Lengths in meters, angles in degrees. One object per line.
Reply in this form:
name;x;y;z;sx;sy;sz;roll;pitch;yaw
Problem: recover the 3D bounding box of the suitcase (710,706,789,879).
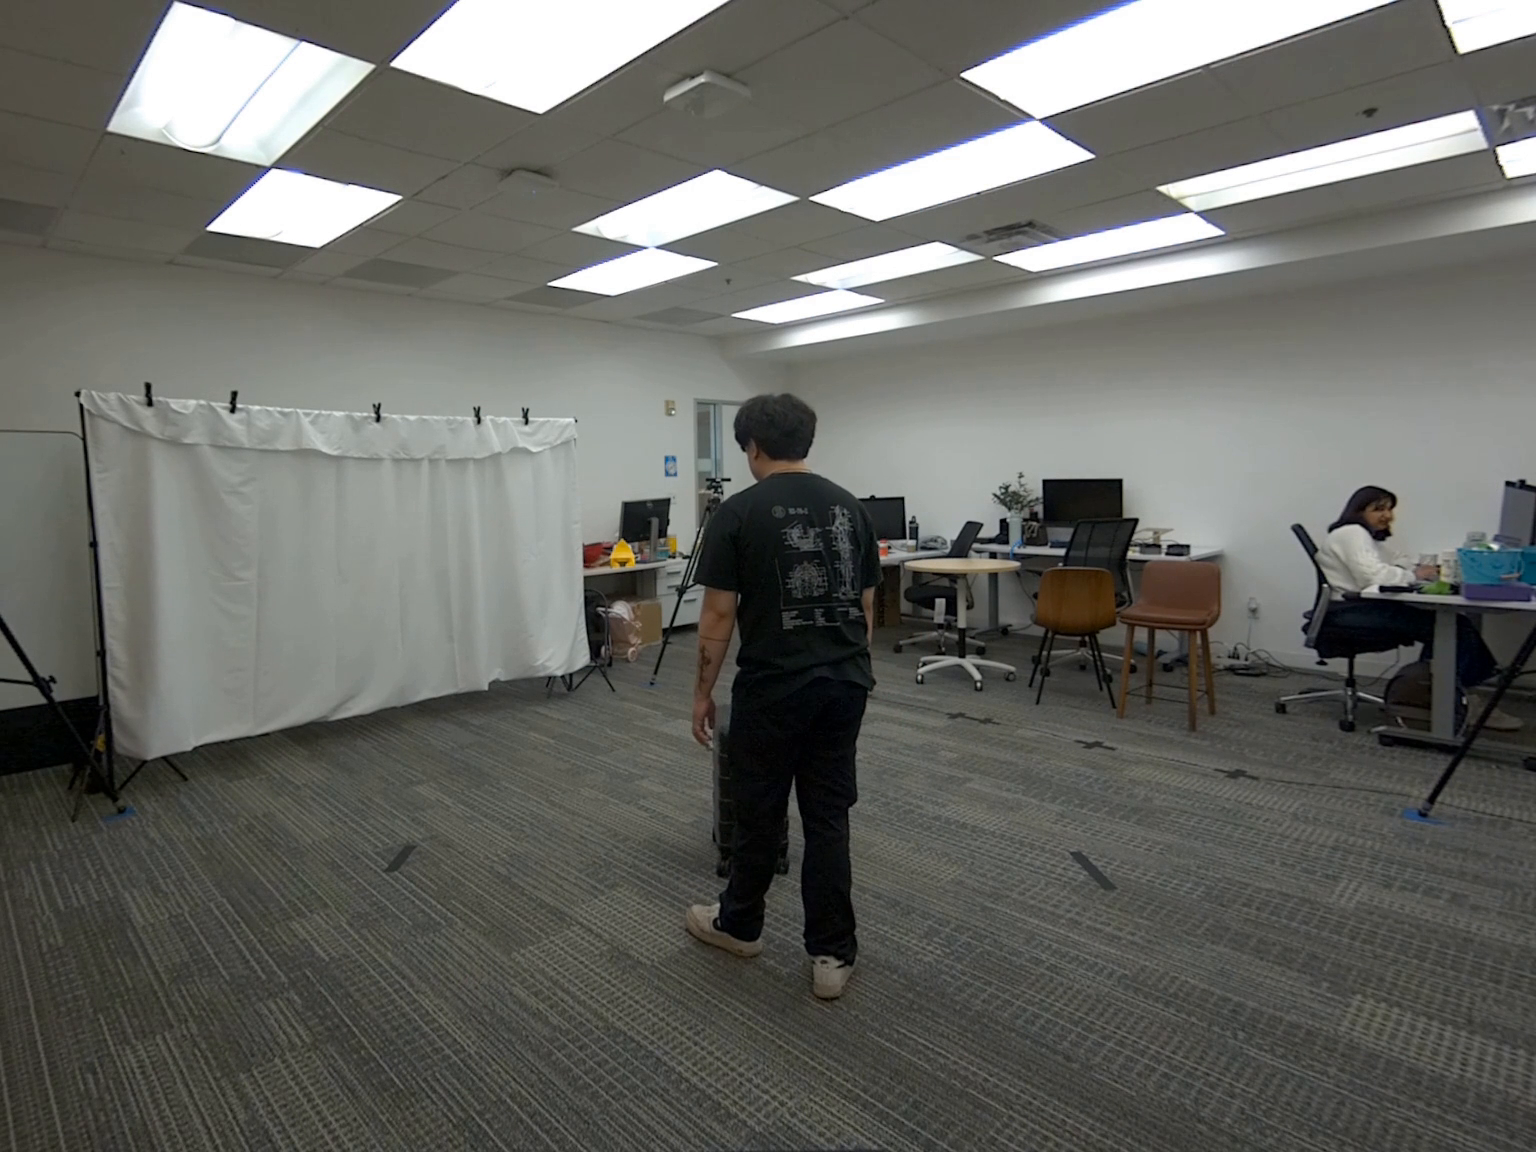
suitcase;-0.063;0.764;3.167;0.247;0.547;0.379;-1;5;-8
